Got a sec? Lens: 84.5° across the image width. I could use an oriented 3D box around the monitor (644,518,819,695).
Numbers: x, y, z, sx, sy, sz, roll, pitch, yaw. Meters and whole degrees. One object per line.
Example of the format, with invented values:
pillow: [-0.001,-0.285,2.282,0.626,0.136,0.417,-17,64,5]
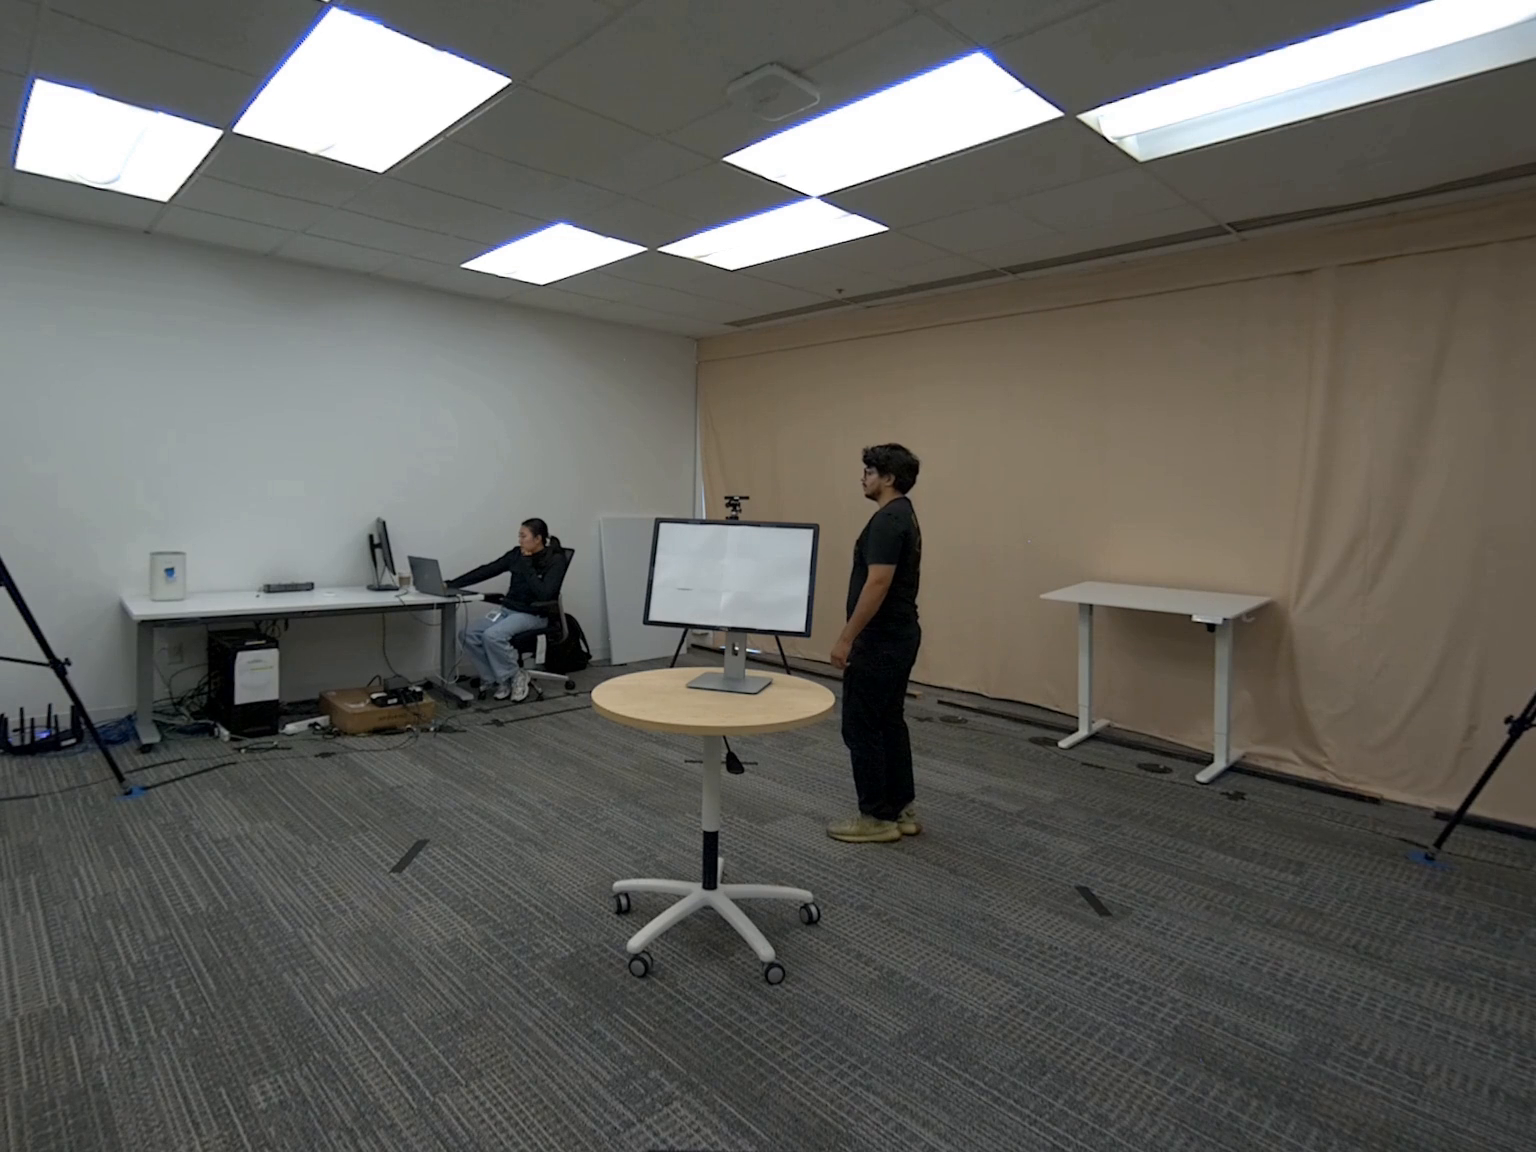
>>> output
monitor: [-0.110,0.094,2.784,0.573,0.555,0.207,2,-3,17]
